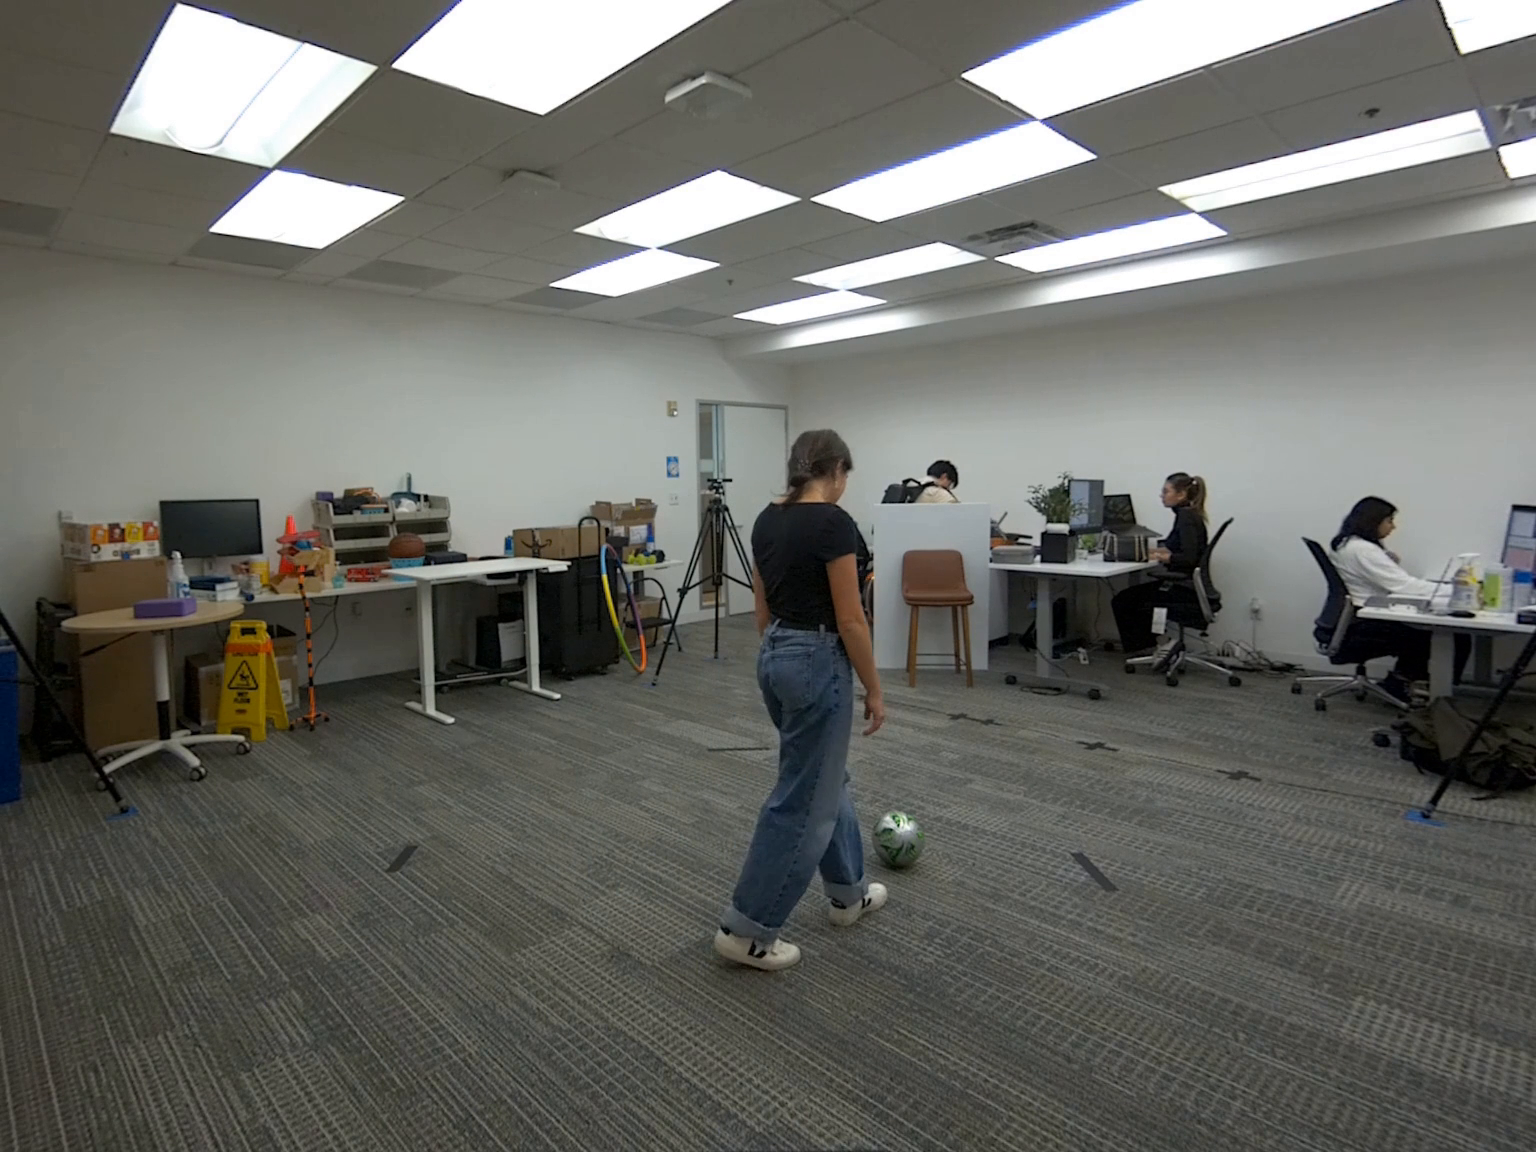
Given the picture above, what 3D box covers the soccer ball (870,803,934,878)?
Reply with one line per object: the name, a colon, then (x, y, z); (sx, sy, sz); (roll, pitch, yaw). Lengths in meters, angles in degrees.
soccer ball: (0.478, 0.947, 3.084); (0.187, 0.187, 0.188); (-1, 5, -2)
